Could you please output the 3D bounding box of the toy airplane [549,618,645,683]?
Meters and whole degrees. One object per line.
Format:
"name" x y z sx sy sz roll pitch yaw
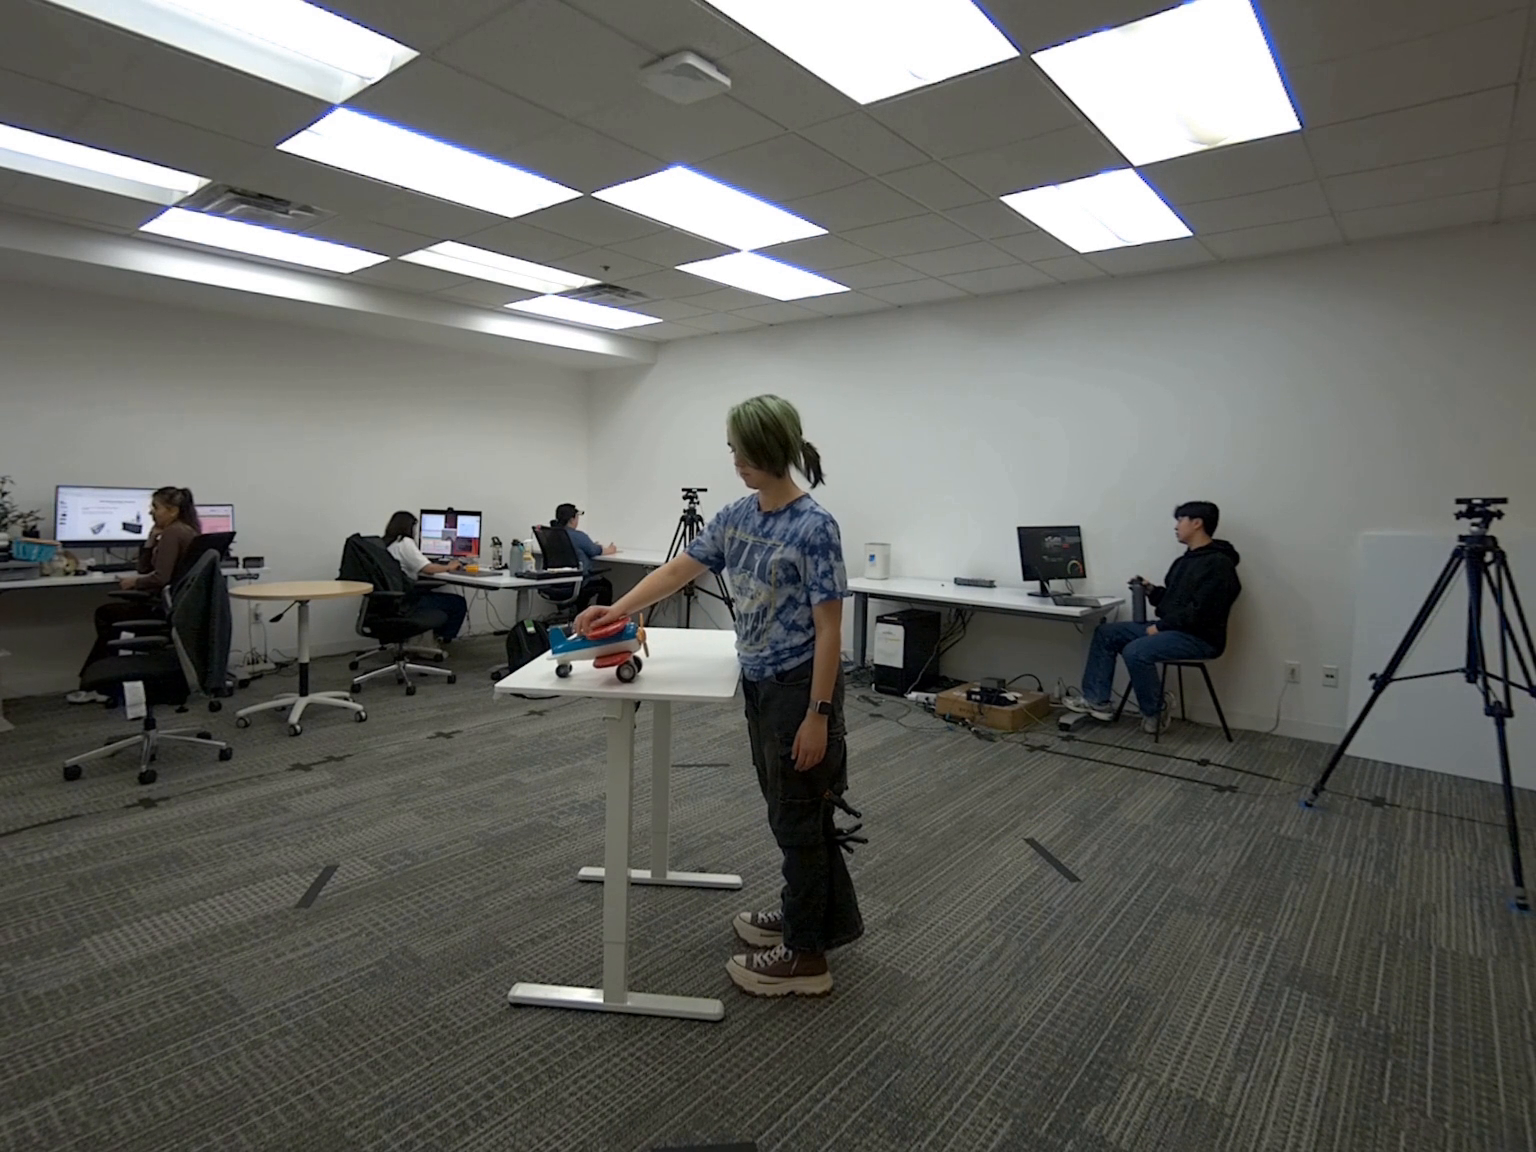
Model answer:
"toy airplane" -0.449 0.193 2.234 0.253 0.156 0.258 0 4 -26
